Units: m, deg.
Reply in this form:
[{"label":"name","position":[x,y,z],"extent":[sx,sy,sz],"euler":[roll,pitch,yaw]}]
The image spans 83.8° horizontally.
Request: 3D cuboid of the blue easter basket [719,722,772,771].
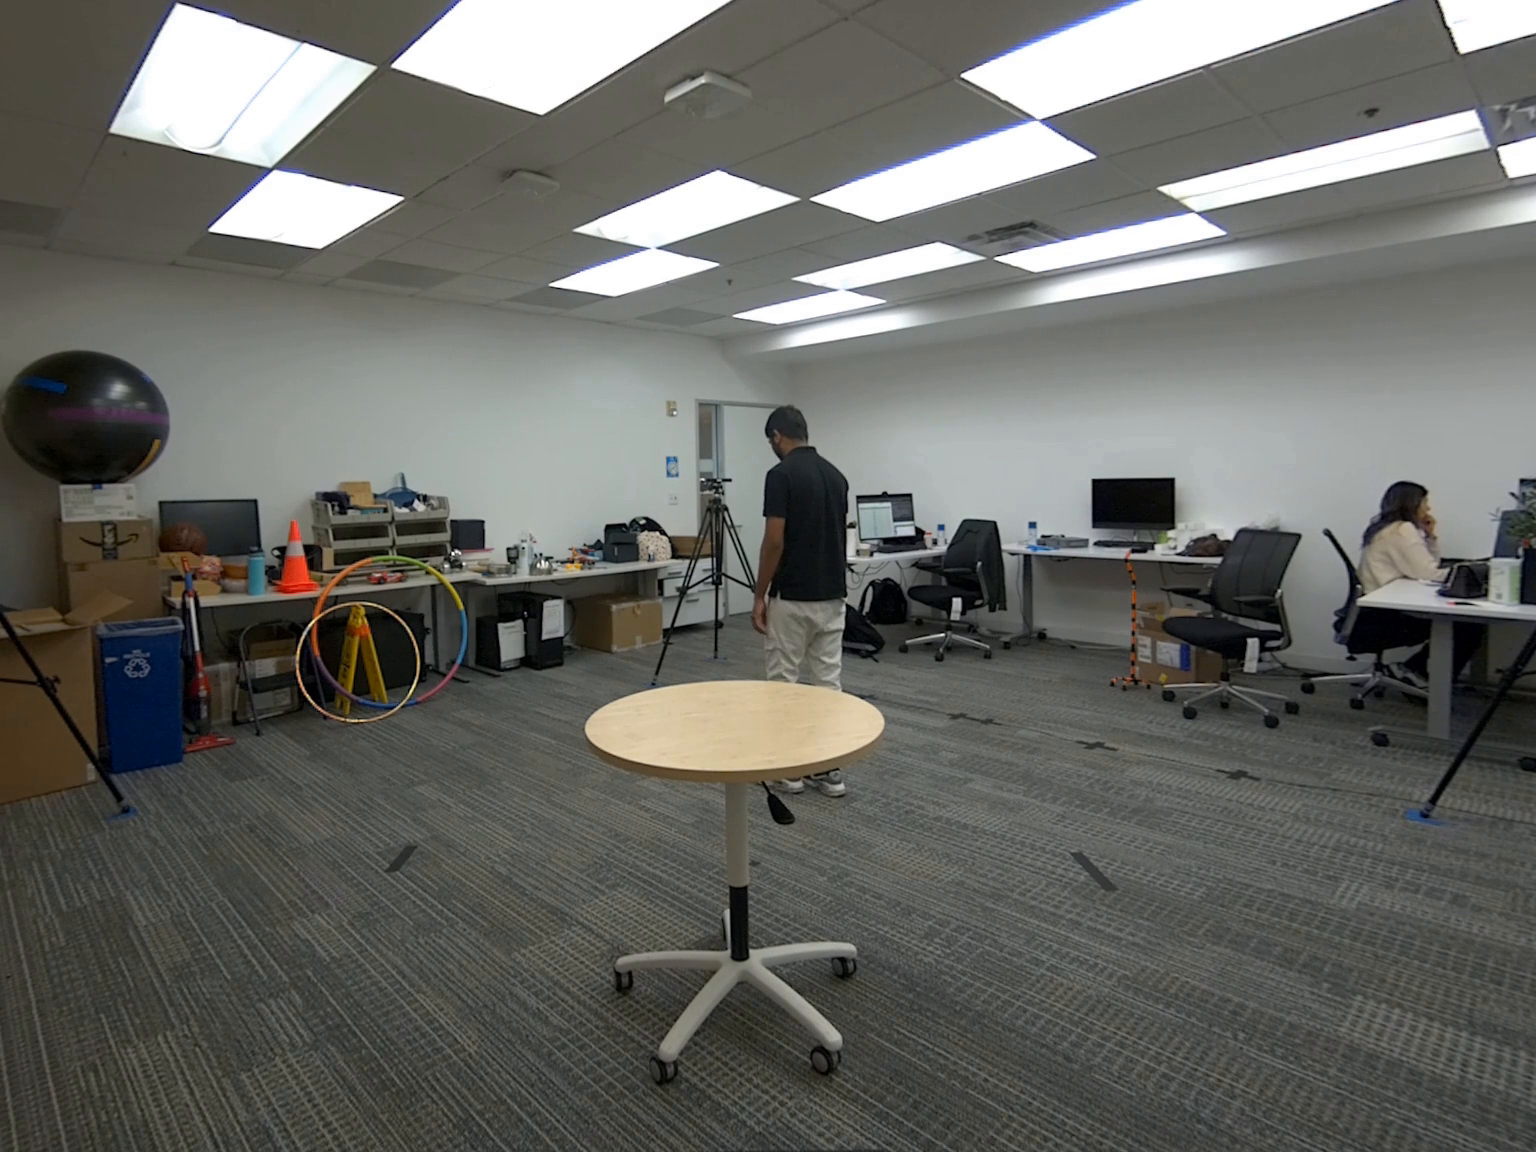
[{"label":"blue easter basket","position":[-0.118,0.843,4.257],"extent":[0.243,0.155,0.245],"euler":[-2,6,-1]}]
